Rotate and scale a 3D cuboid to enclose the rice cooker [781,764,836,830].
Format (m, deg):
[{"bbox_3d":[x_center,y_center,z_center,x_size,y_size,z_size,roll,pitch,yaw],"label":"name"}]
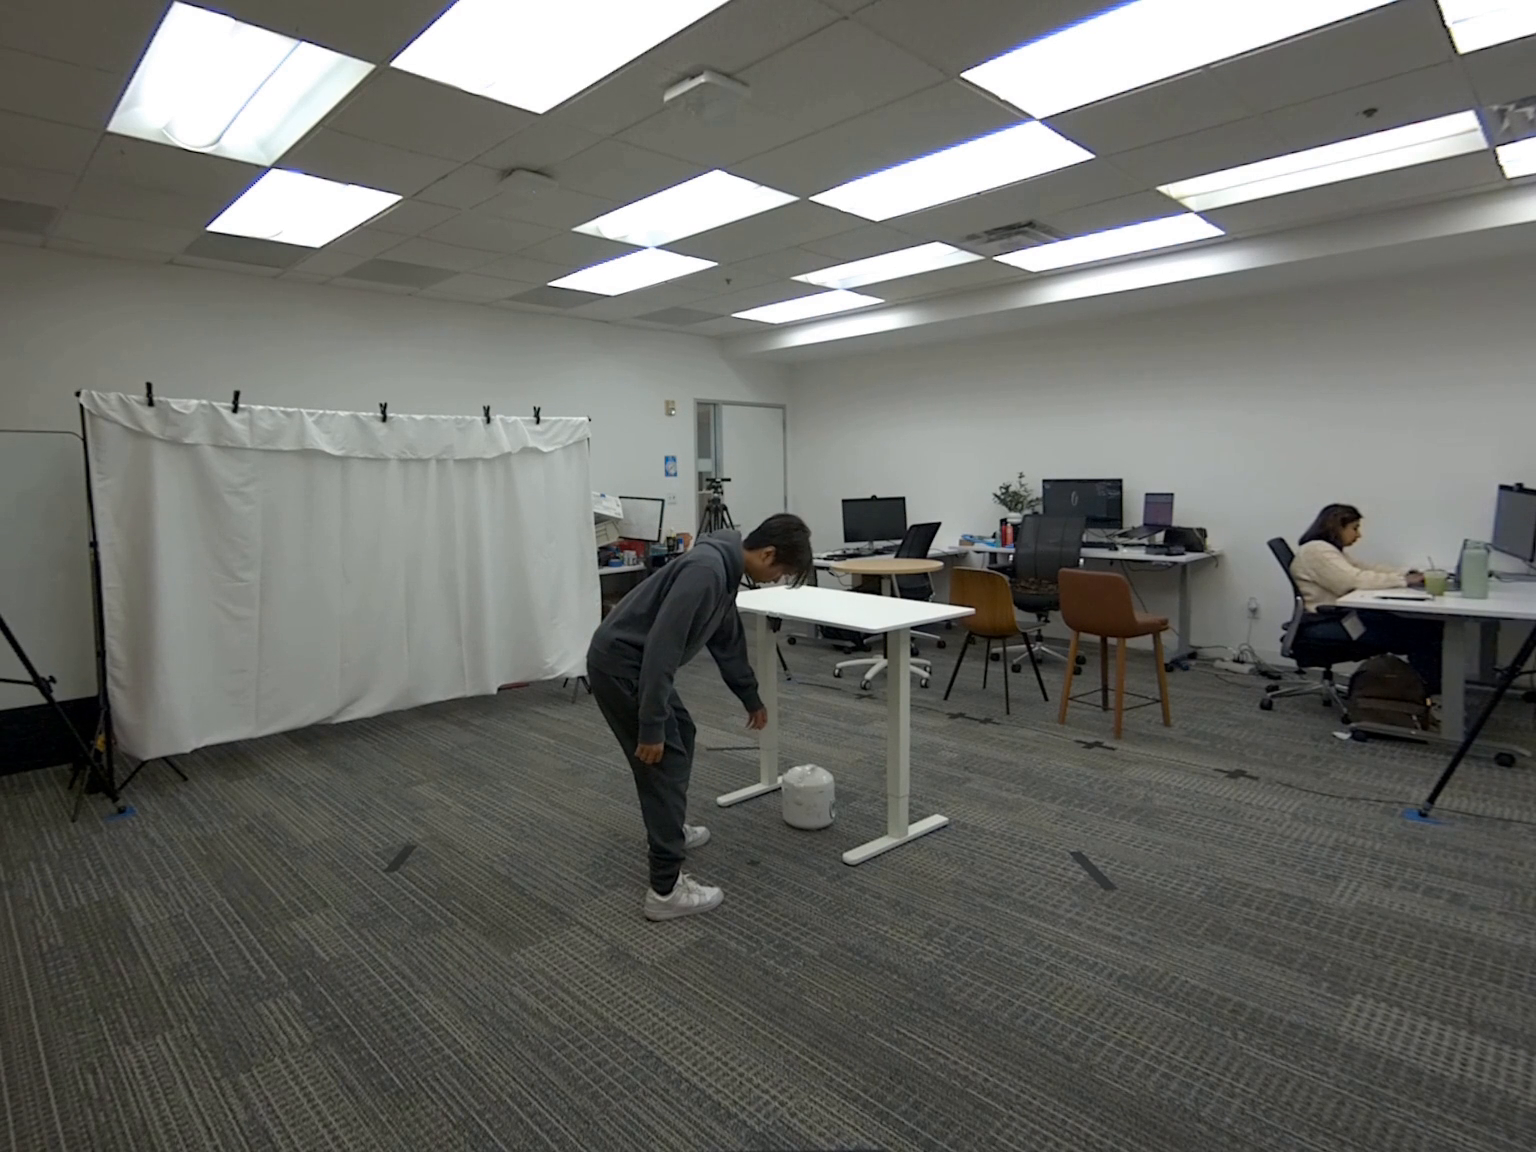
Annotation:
[{"bbox_3d":[0.167,0.880,3.459,0.223,0.232,0.216,1,5,27],"label":"rice cooker"}]
